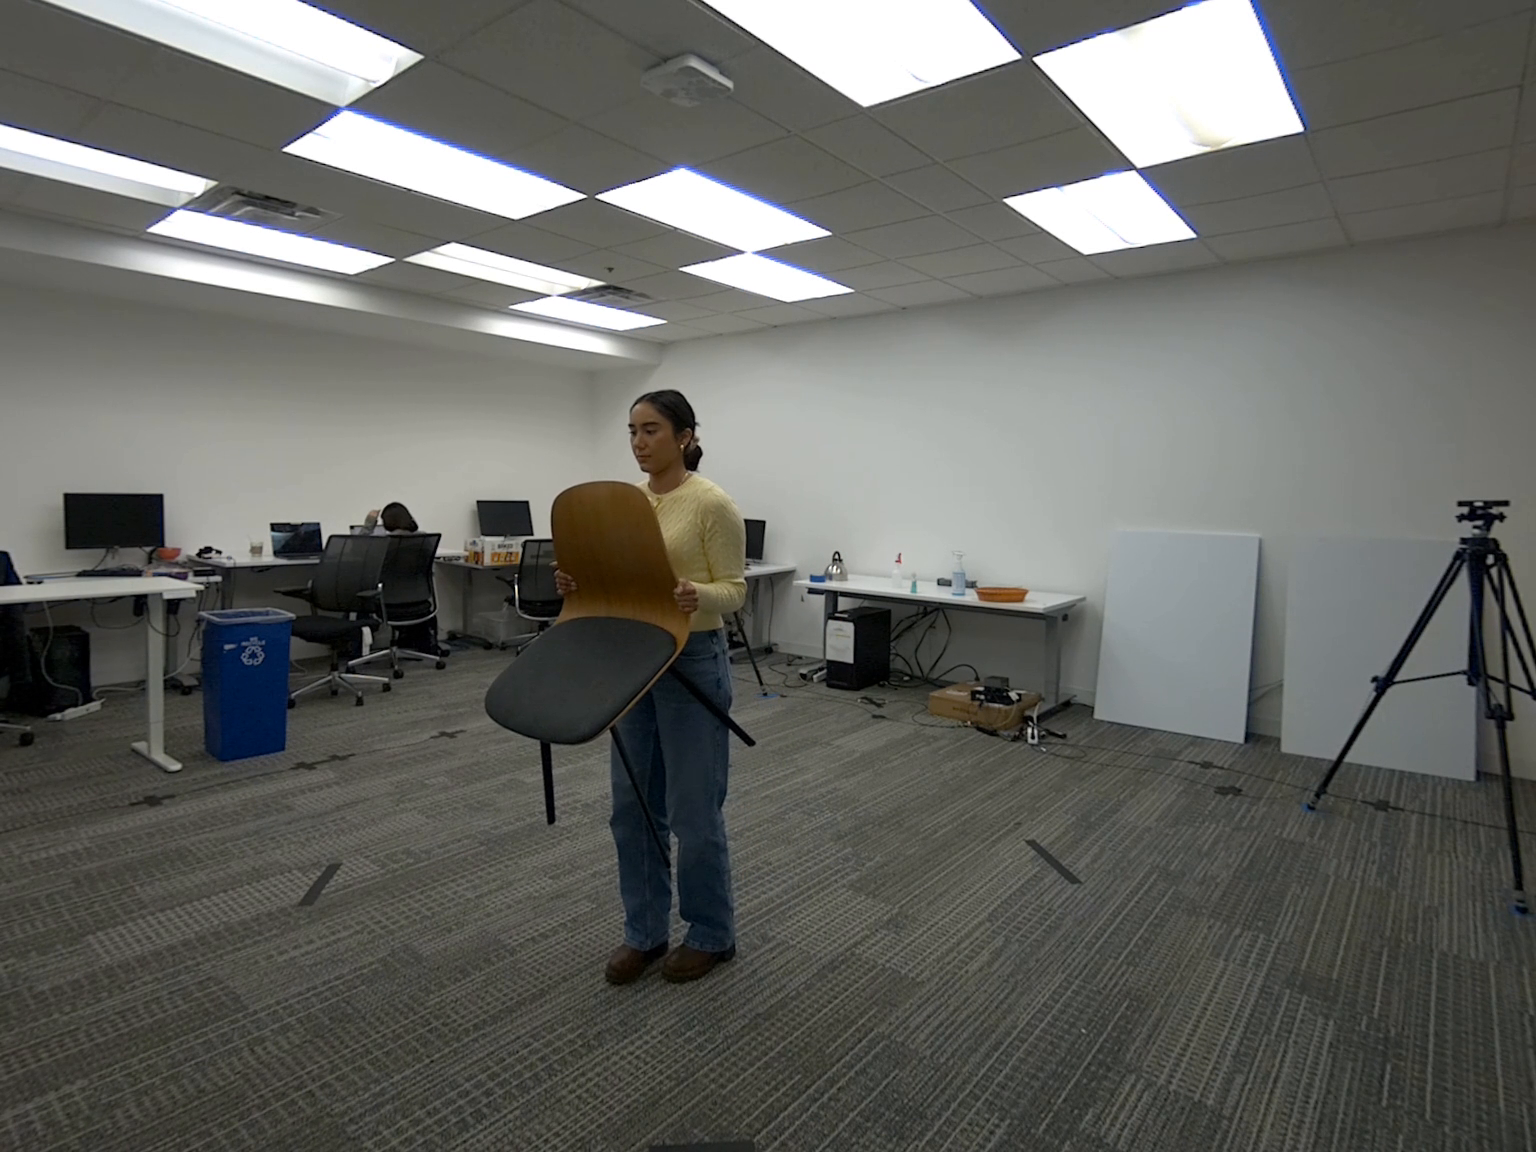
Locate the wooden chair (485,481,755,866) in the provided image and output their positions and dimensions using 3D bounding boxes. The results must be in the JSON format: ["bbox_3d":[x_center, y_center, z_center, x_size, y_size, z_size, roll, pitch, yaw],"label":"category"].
[{"bbox_3d":[-0.457,0.255,2.238,0.493,0.853,0.521,6,32,33],"label":"wooden chair"}]
